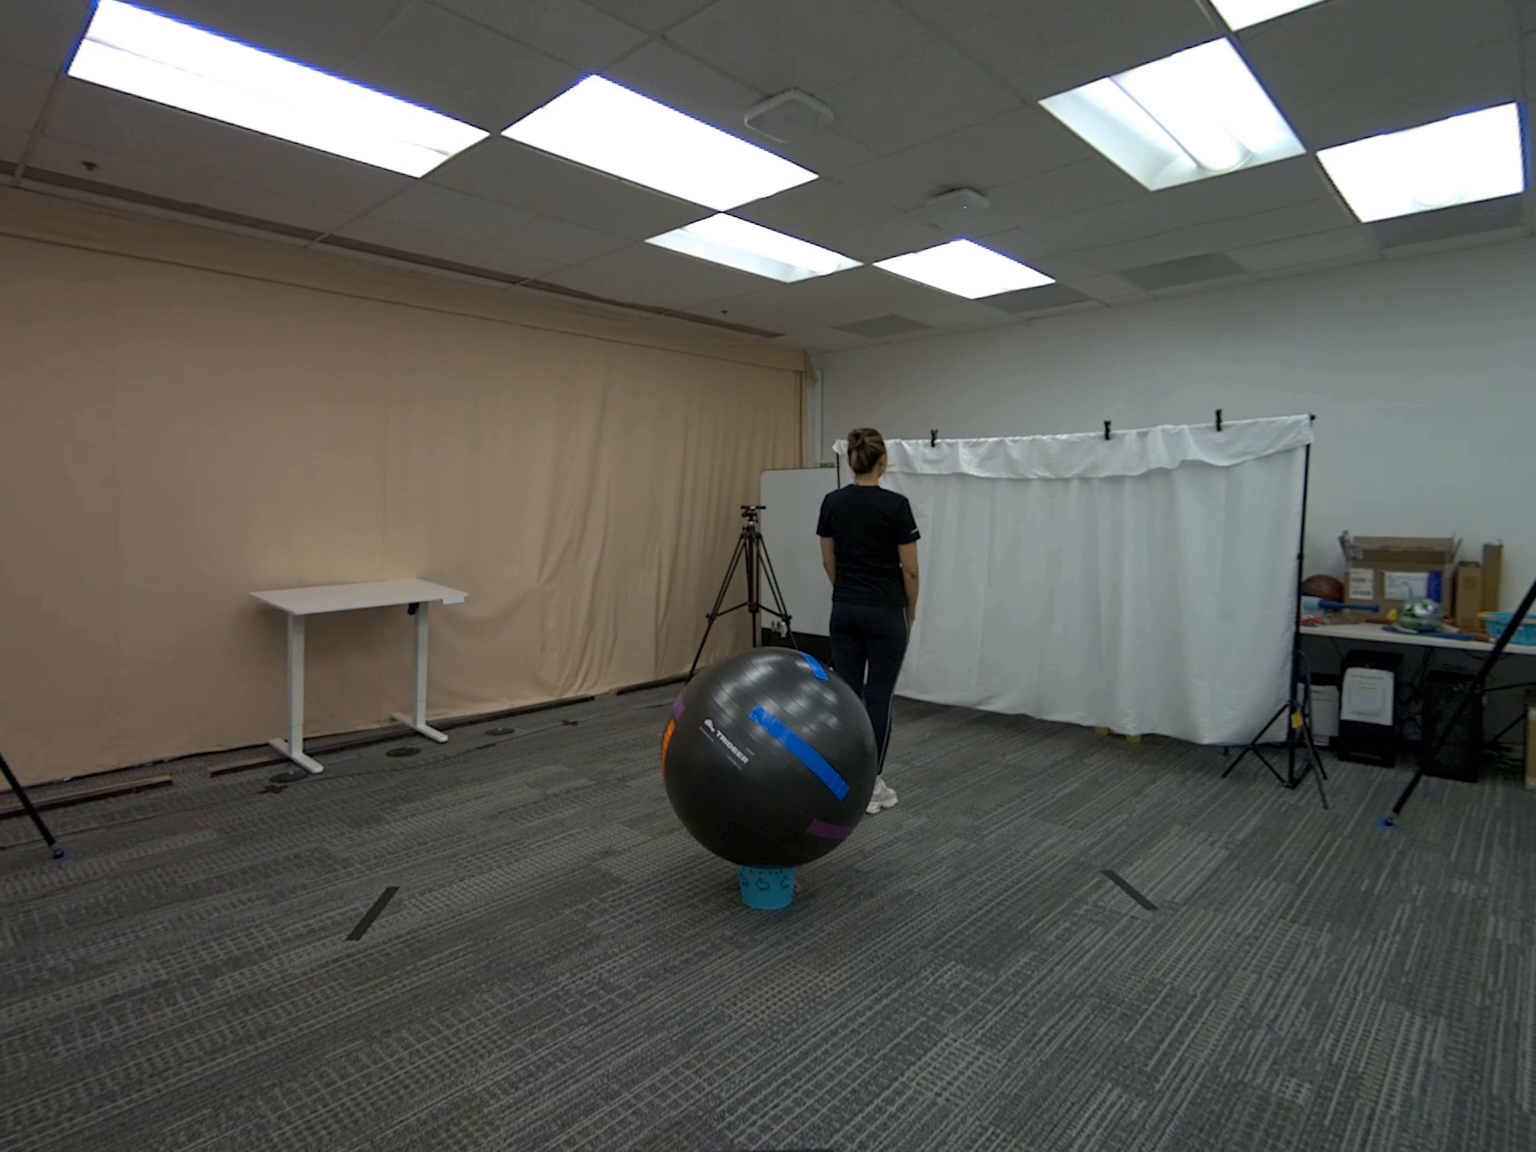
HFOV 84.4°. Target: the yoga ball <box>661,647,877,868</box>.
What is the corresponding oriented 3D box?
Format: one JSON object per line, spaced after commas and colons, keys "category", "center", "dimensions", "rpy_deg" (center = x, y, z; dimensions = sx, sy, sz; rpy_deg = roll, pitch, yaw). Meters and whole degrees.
{"category": "yoga ball", "center": [0.007, 0.635, 2.966], "dimensions": [0.757, 0.756, 0.760], "rpy_deg": [0, 4, -2]}
